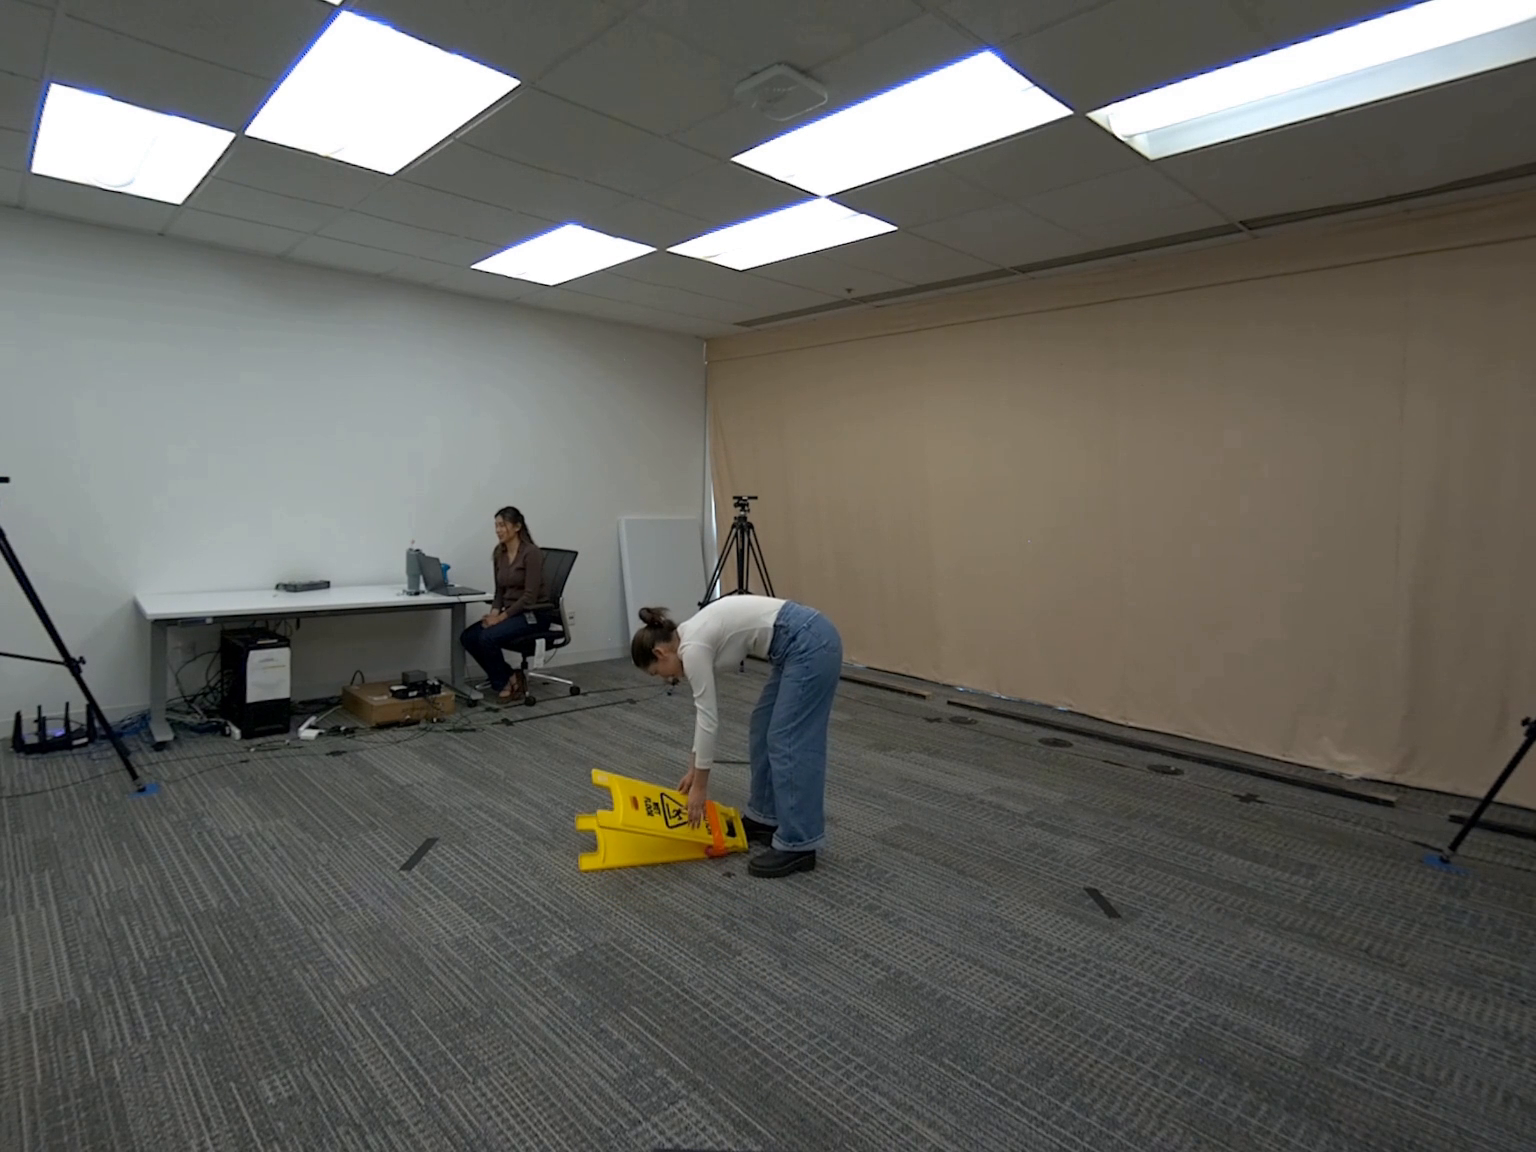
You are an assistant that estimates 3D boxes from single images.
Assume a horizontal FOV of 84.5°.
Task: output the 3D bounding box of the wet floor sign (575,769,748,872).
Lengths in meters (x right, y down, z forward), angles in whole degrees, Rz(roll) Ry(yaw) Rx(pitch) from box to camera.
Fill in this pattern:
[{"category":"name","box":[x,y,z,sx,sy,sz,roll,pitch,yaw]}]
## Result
[{"category":"wet floor sign","box":[-0.397,0.968,3.265,0.634,0.287,0.290,9,30,-22]}]
